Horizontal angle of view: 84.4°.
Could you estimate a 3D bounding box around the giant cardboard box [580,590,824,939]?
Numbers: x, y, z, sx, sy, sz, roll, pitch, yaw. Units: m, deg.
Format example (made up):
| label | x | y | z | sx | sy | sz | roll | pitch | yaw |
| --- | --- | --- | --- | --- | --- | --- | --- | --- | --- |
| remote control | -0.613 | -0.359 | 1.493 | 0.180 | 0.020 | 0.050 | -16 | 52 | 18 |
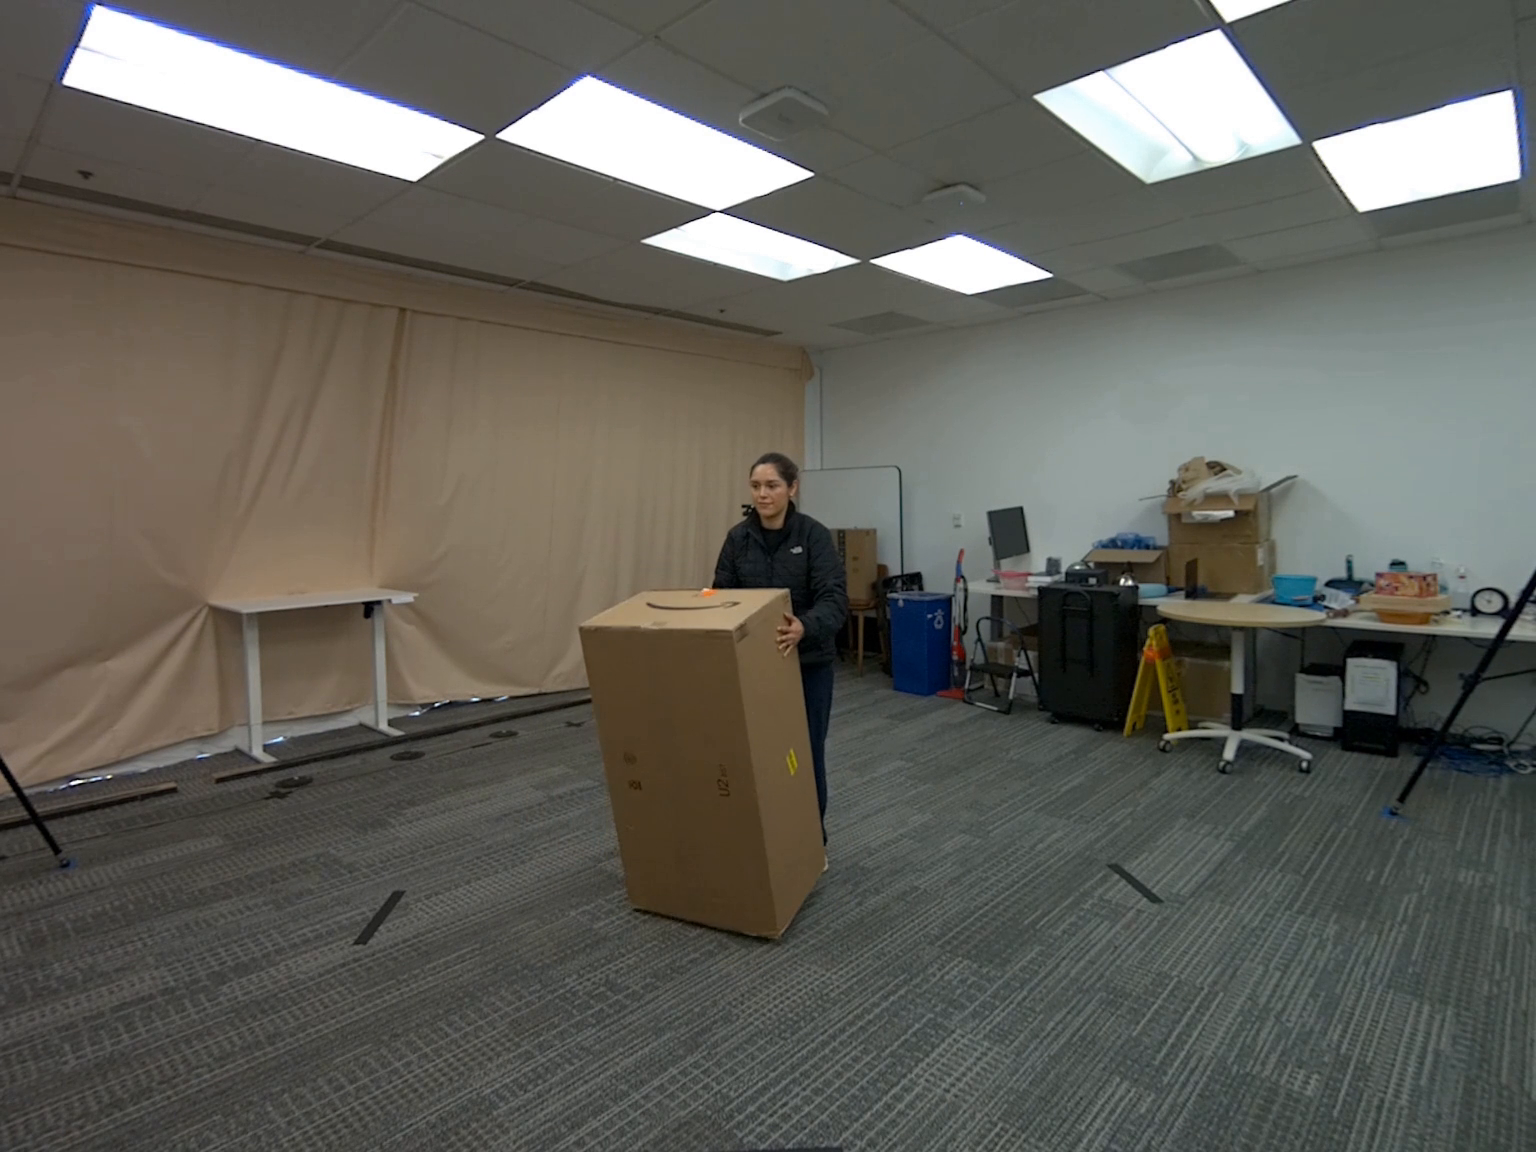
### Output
| label | x | y | z | sx | sy | sz | roll | pitch | yaw |
| --- | --- | --- | --- | --- | --- | --- | --- | --- | --- |
| giant cardboard box | -0.190 | 0.587 | 2.847 | 0.593 | 1.017 | 0.419 | -1 | 13 | 28 |
